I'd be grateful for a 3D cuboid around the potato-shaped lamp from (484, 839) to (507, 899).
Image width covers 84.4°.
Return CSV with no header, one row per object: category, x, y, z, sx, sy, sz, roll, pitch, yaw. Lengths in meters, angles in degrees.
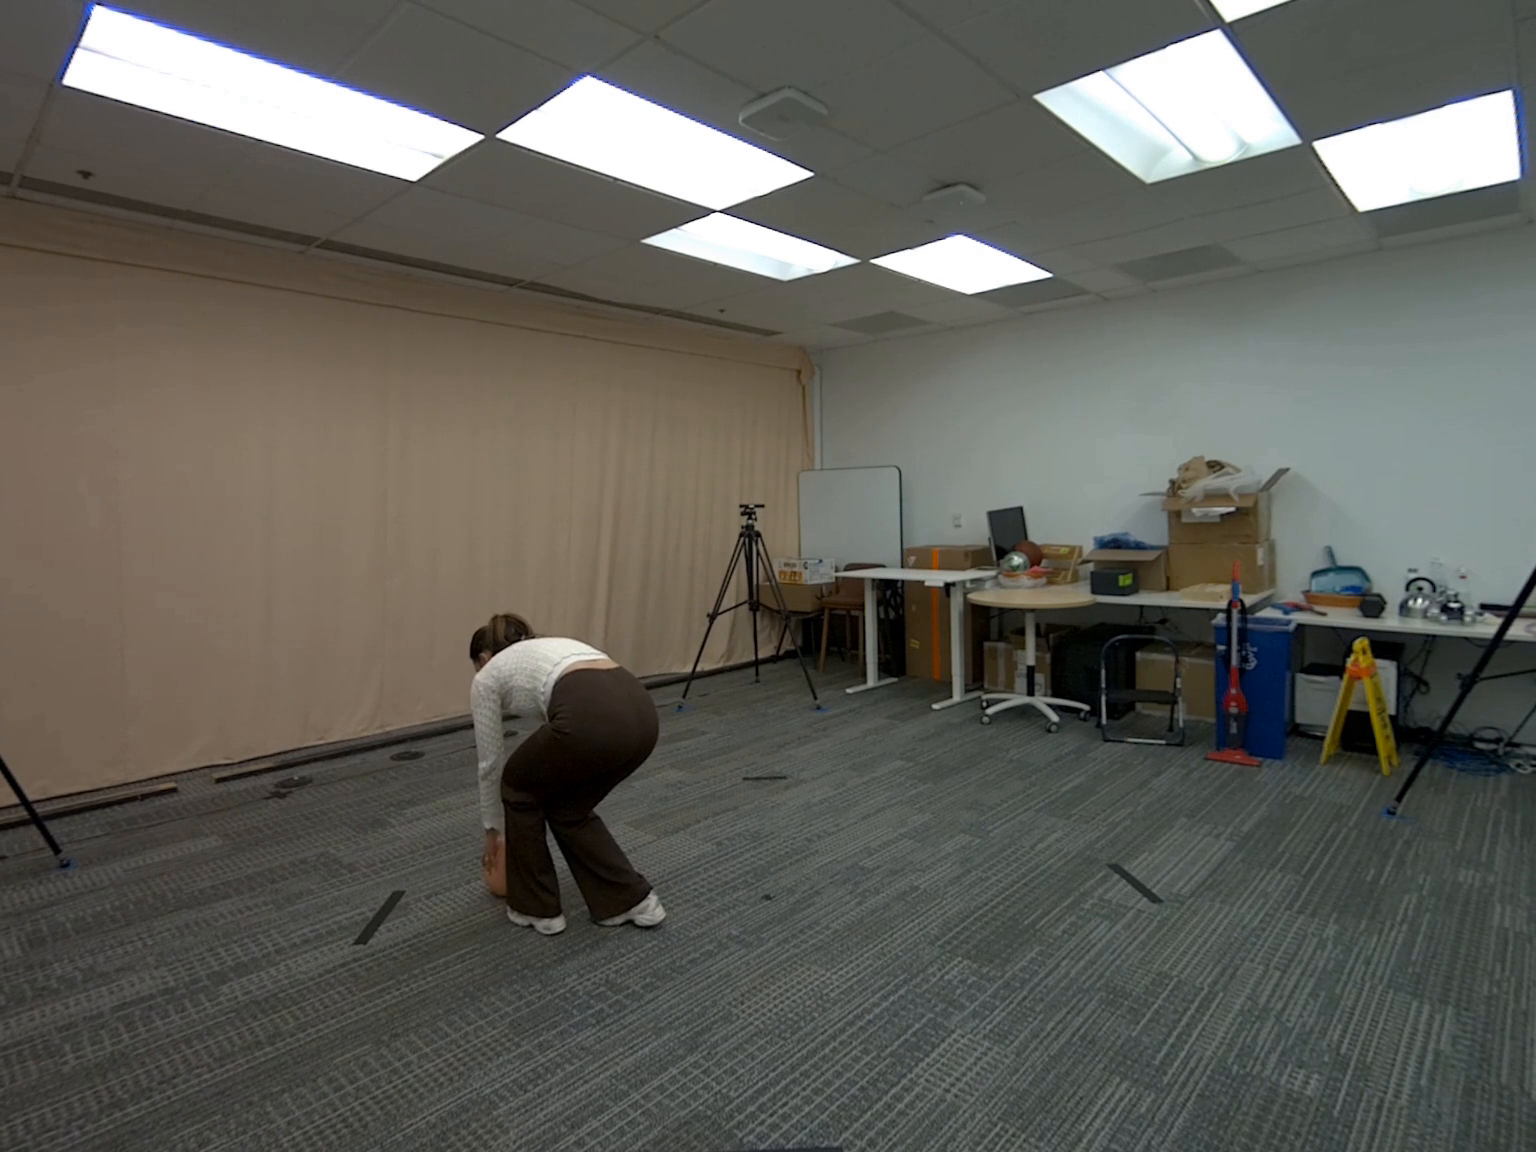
potato-shaped lamp,-0.948,1.046,3.064,0.166,0.198,0.170,7,2,-35
